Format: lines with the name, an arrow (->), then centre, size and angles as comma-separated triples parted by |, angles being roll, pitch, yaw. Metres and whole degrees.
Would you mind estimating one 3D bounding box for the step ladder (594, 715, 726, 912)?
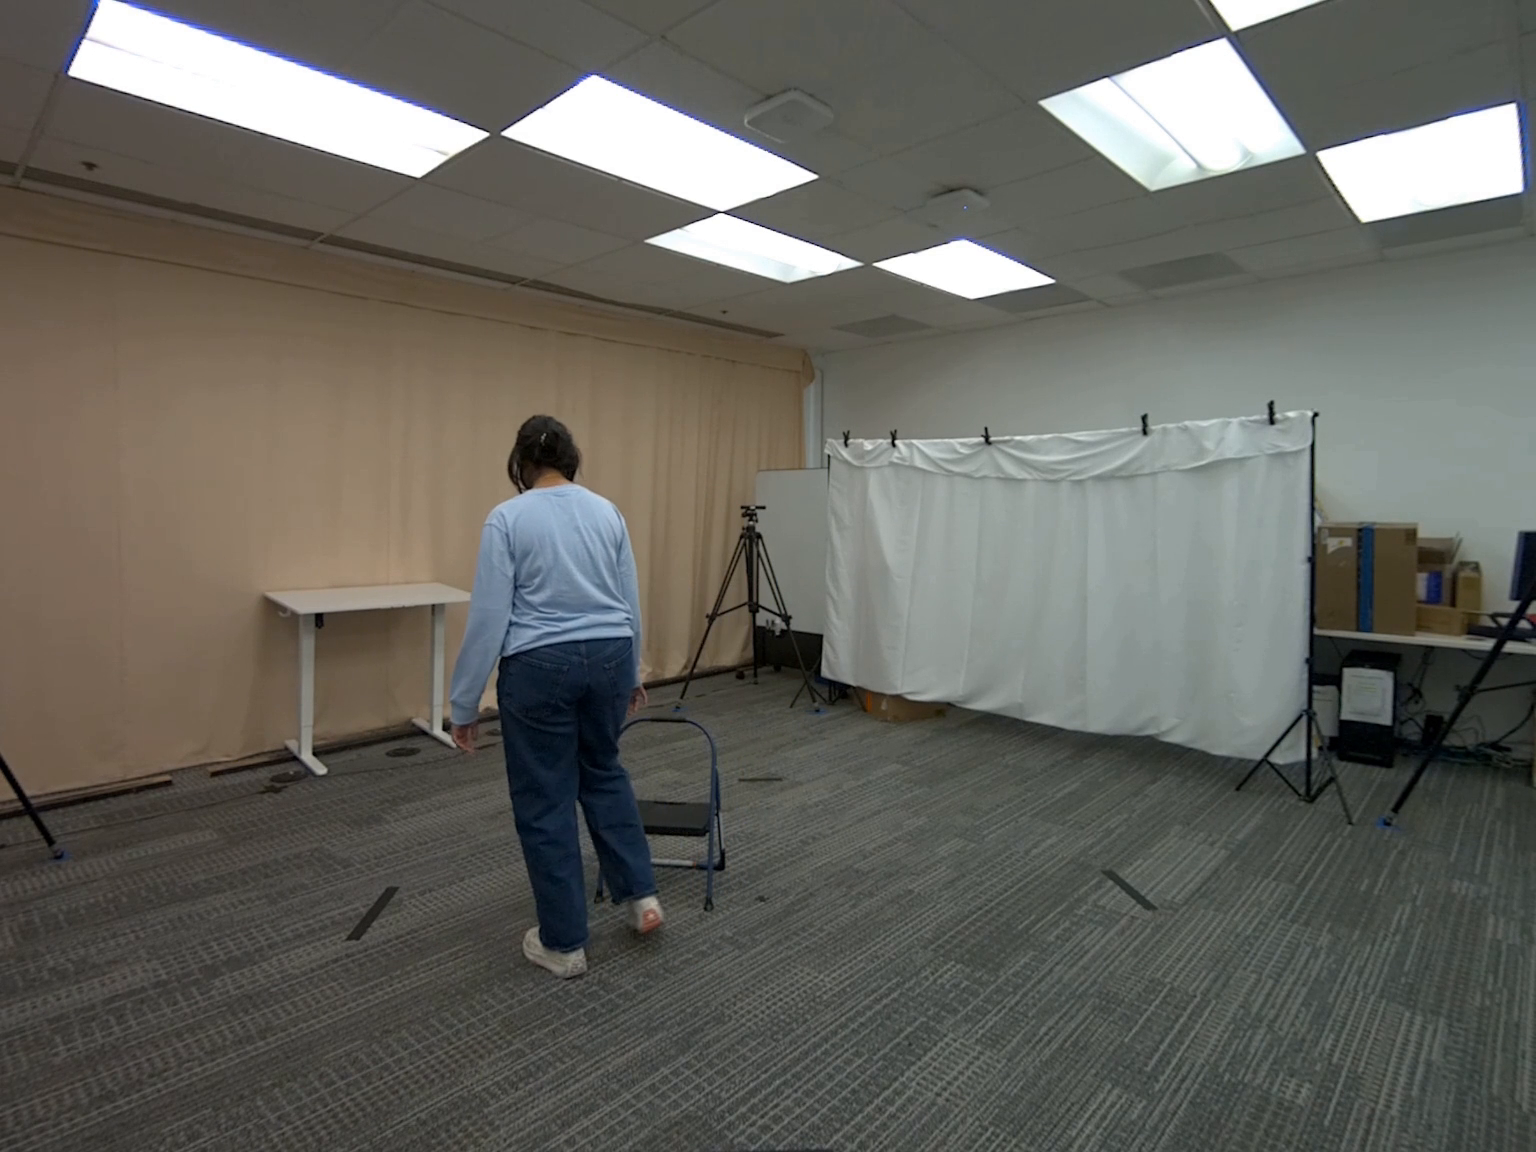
step ladder -> -0.385, 0.836, 3.090 | 0.435, 0.605, 0.346 | 0, 3, 8
